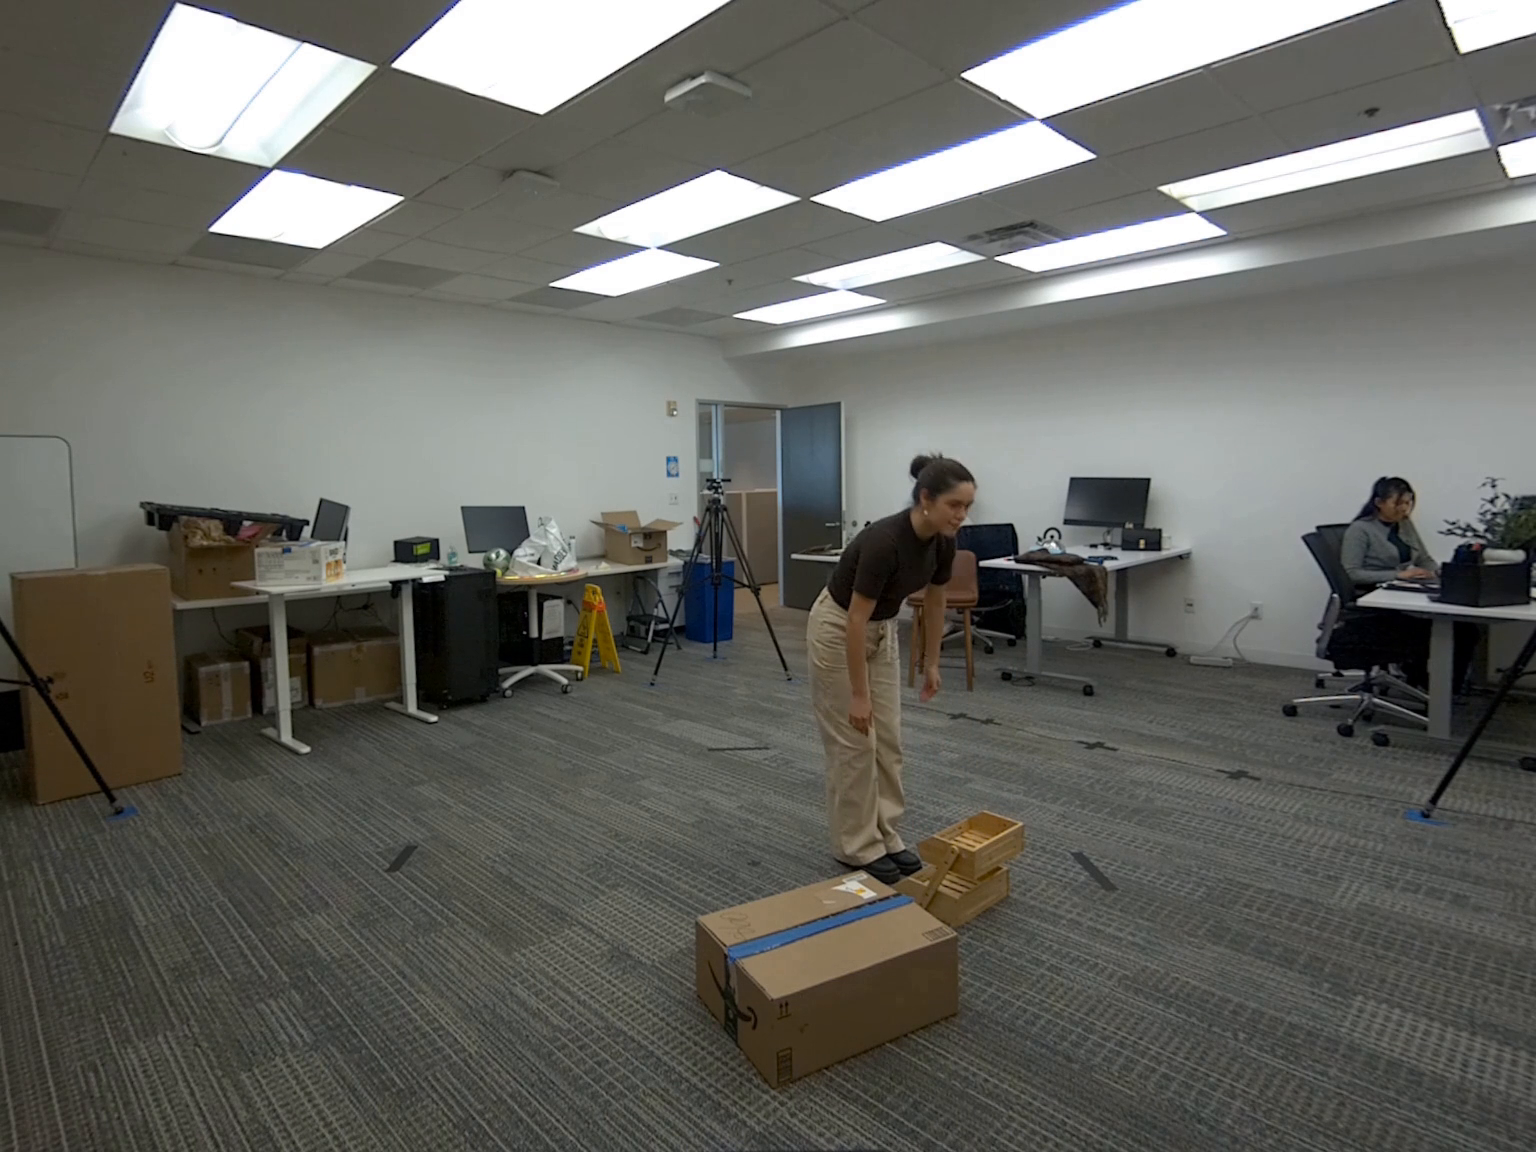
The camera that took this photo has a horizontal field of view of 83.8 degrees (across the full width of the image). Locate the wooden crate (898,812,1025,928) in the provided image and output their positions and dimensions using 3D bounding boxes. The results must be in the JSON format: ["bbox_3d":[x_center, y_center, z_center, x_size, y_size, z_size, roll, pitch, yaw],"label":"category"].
[{"bbox_3d":[0.623,0.928,2.807,0.316,0.272,0.311,-5,7,-43],"label":"wooden crate"}]
